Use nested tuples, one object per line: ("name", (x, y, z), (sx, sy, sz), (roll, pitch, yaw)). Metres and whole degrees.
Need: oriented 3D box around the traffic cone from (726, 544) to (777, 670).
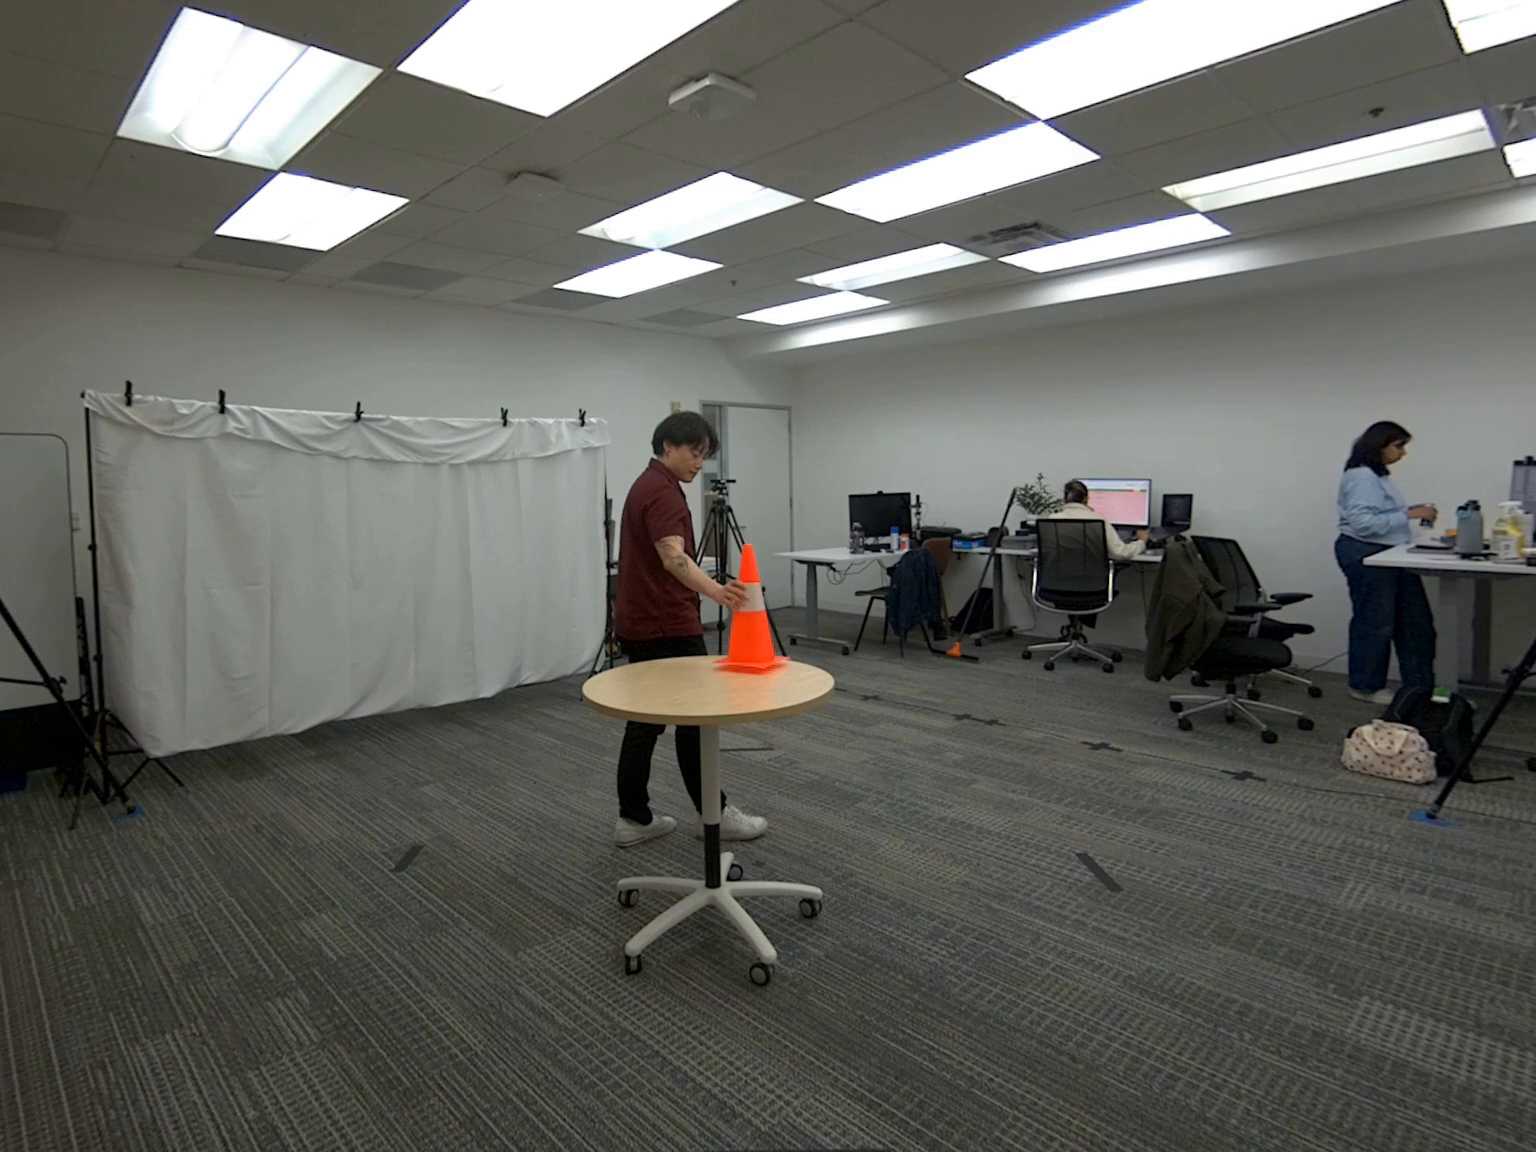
("traffic cone", (-0.062, 0.088, 2.803), (0.210, 0.383, 0.198), (-1, 1, 29))
